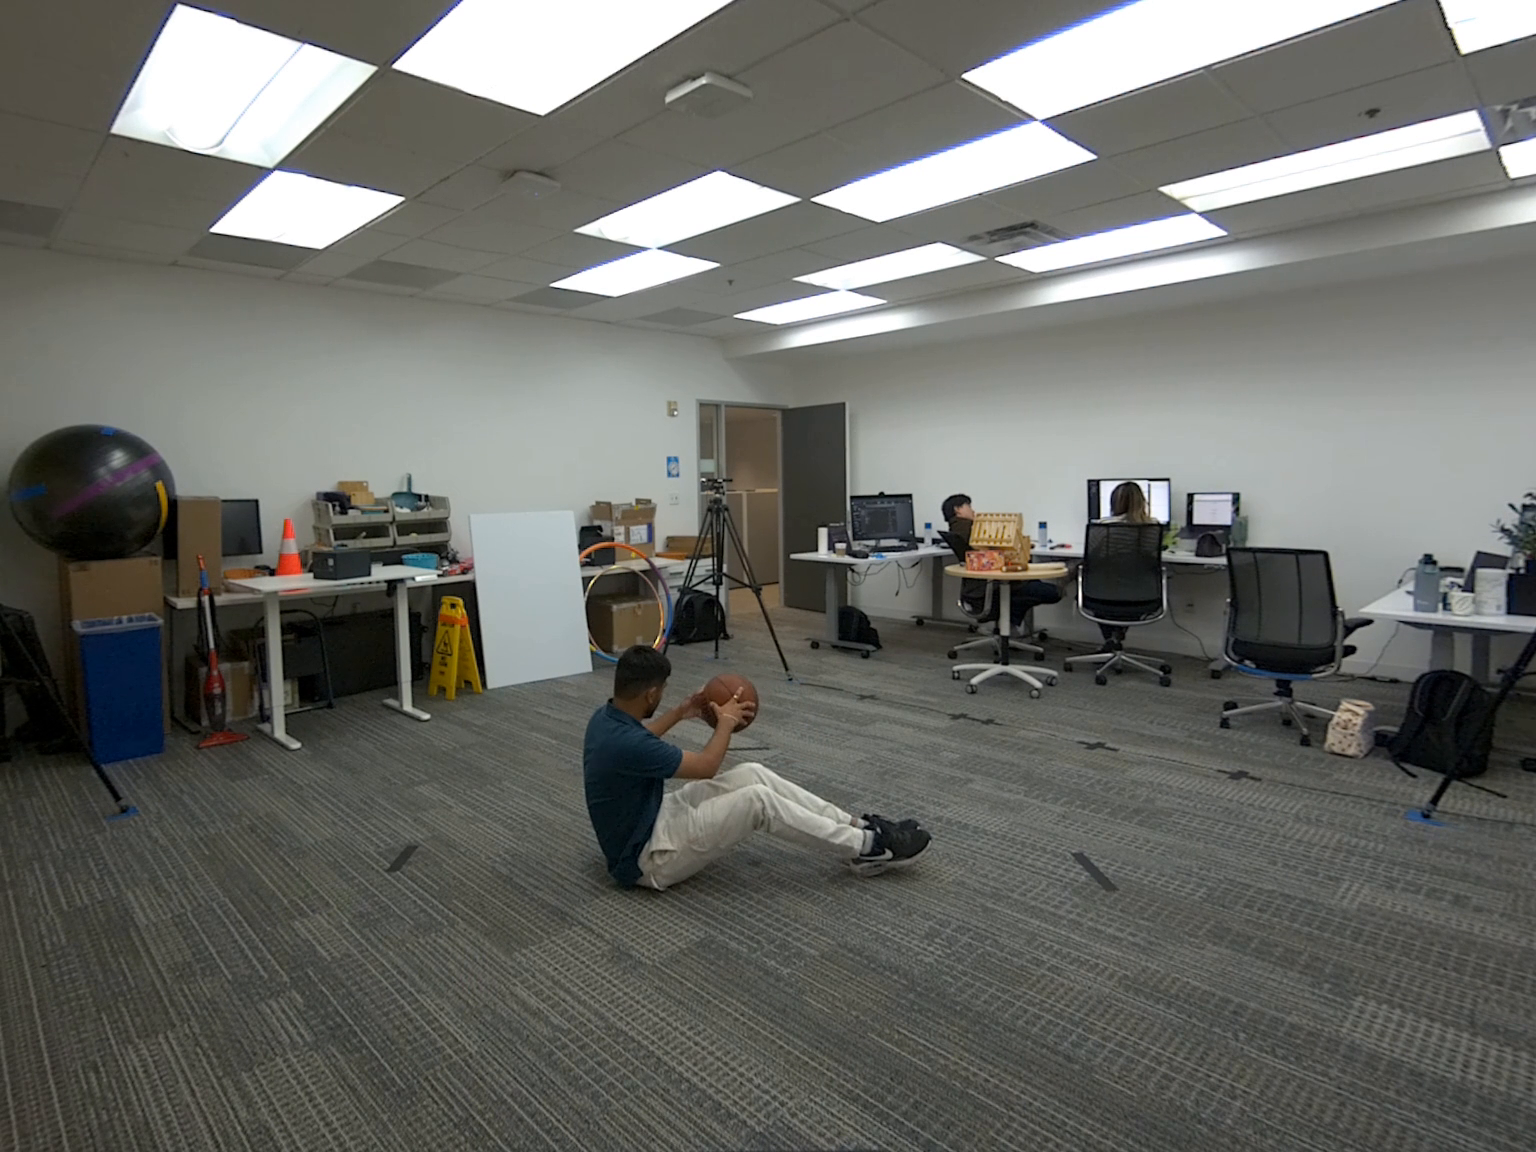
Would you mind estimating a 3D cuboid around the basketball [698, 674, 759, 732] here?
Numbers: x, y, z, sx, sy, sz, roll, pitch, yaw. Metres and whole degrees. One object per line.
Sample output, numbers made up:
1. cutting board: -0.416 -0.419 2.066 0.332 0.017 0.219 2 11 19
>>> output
1. basketball: -0.153 0.532 3.447 0.236 0.235 0.237 -1 5 -2
